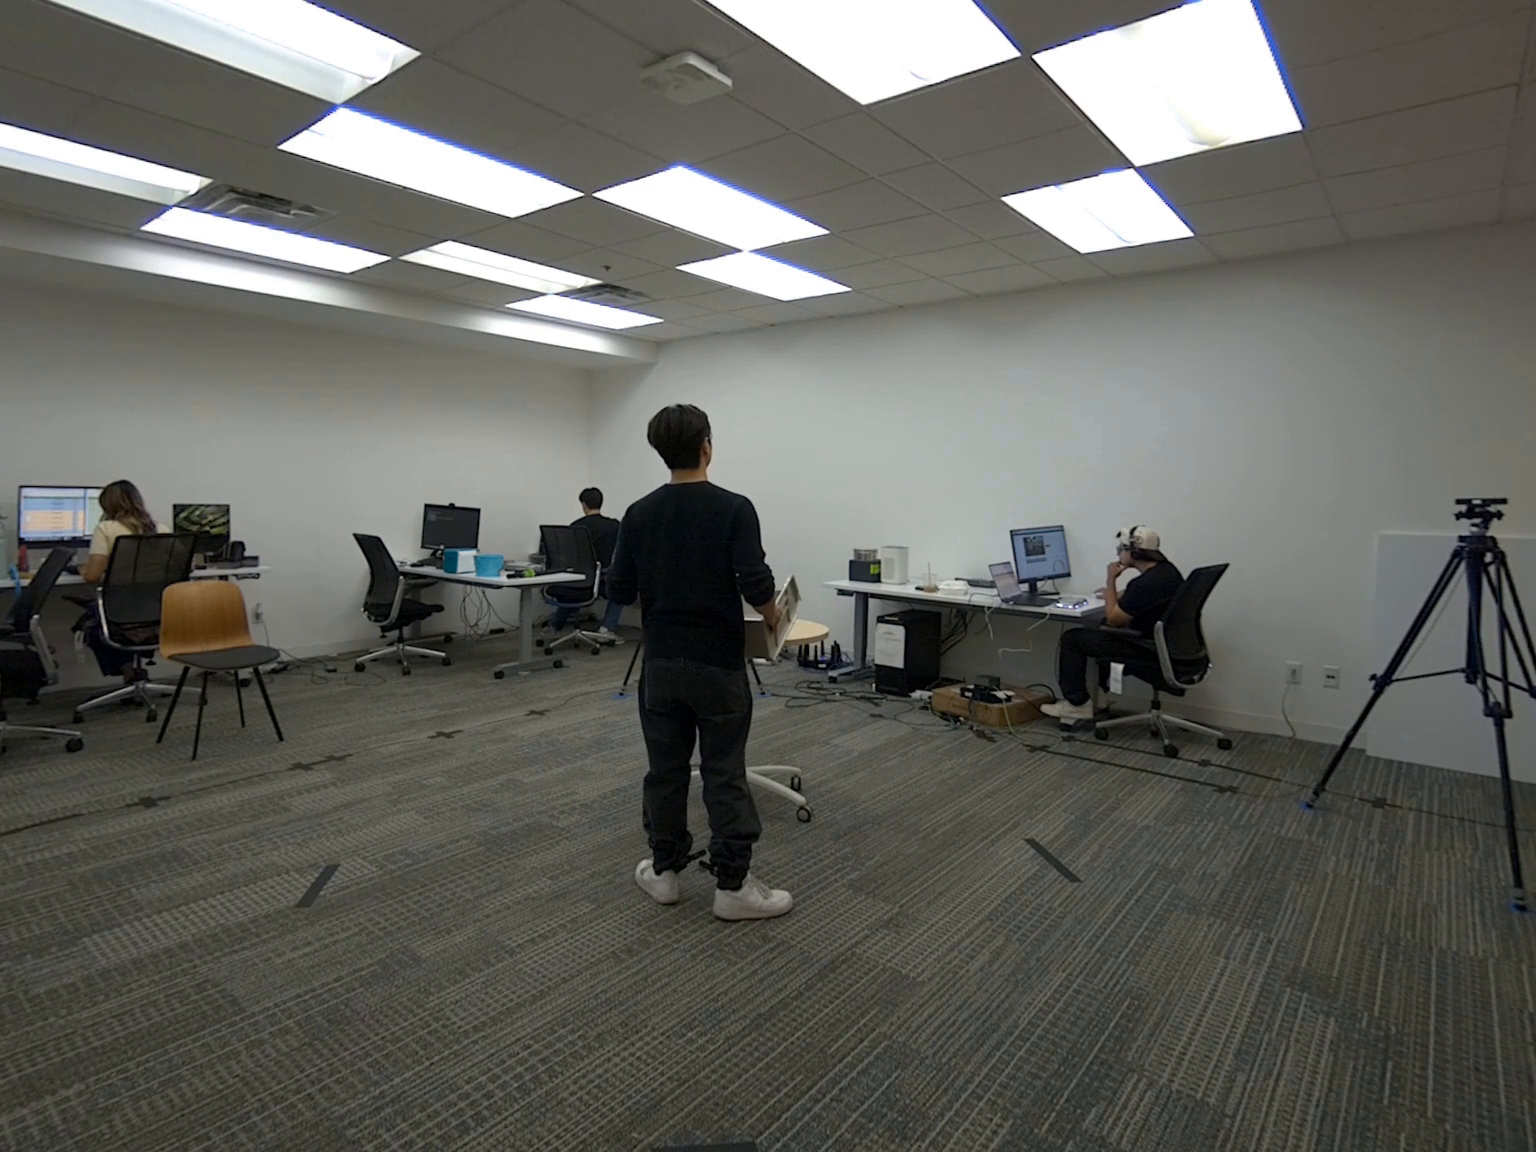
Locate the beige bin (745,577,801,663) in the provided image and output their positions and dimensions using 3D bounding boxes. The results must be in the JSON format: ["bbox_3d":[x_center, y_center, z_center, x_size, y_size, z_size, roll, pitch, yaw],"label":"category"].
[{"bbox_3d":[-0.139,0.138,3.208,0.431,0.184,0.379,1,29,20],"label":"beige bin"}]
